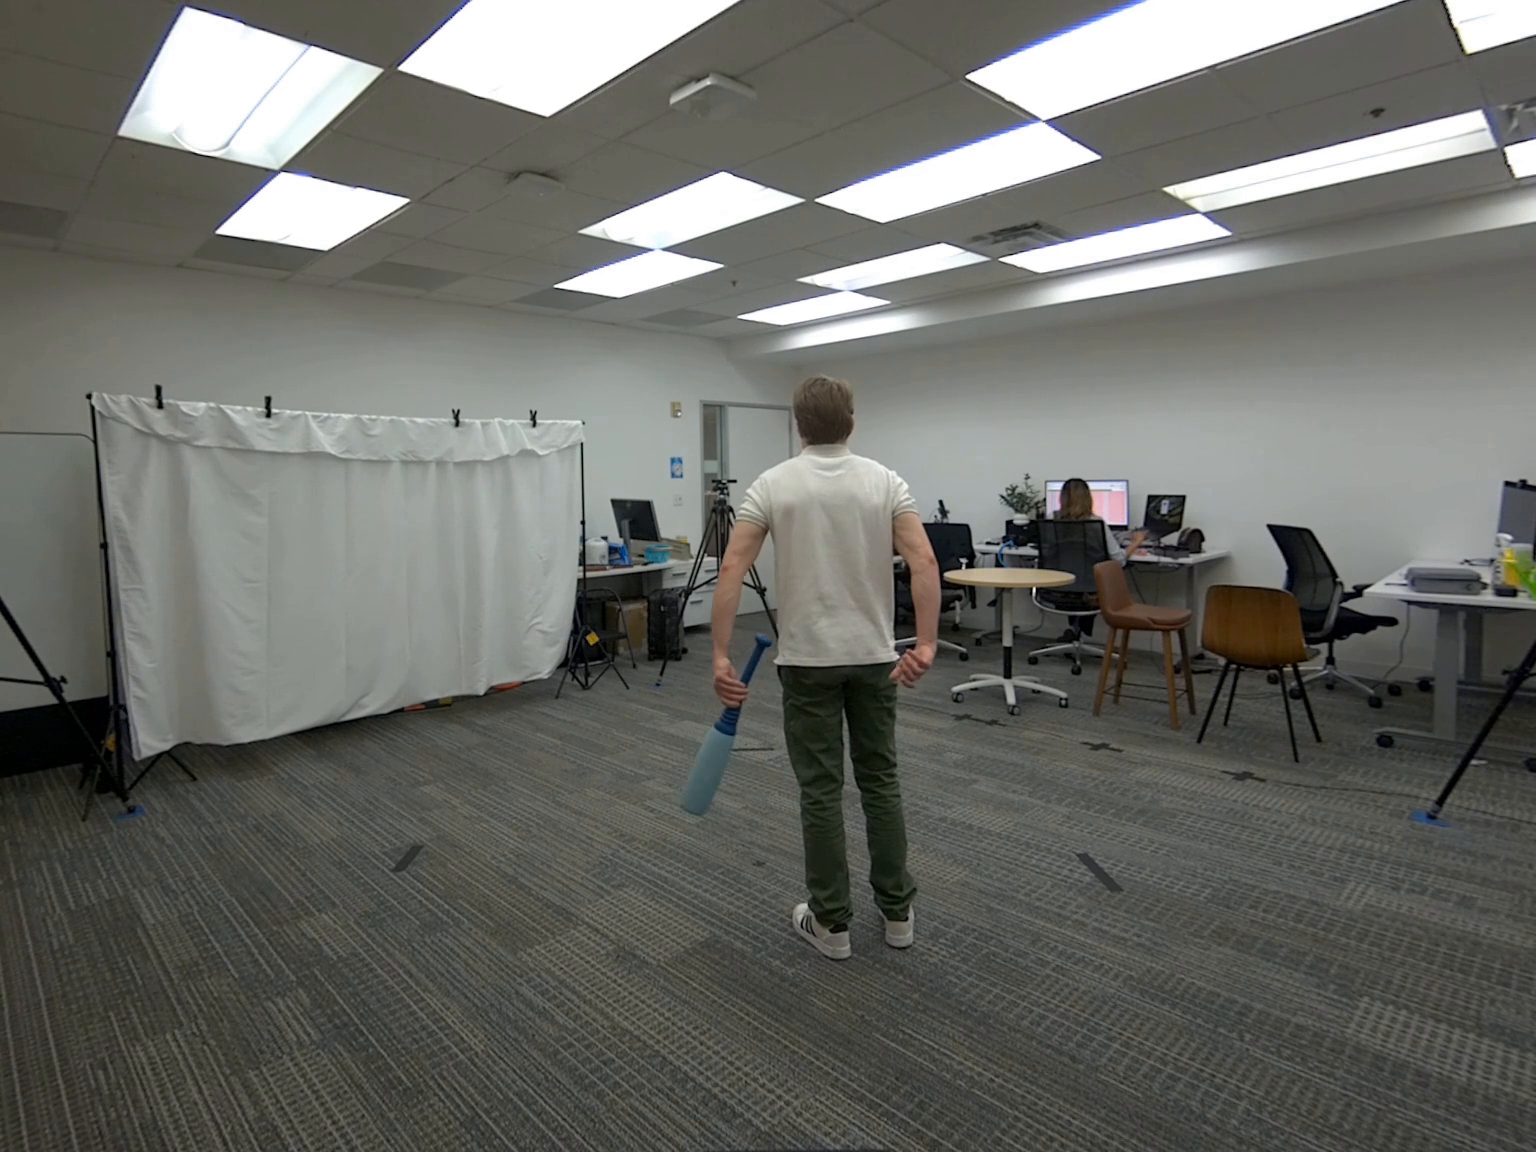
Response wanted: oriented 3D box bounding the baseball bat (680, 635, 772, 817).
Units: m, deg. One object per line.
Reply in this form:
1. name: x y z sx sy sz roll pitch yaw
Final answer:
1. baseball bat: -0.095 0.415 2.422 0.089 0.541 0.090 21 5 -4
